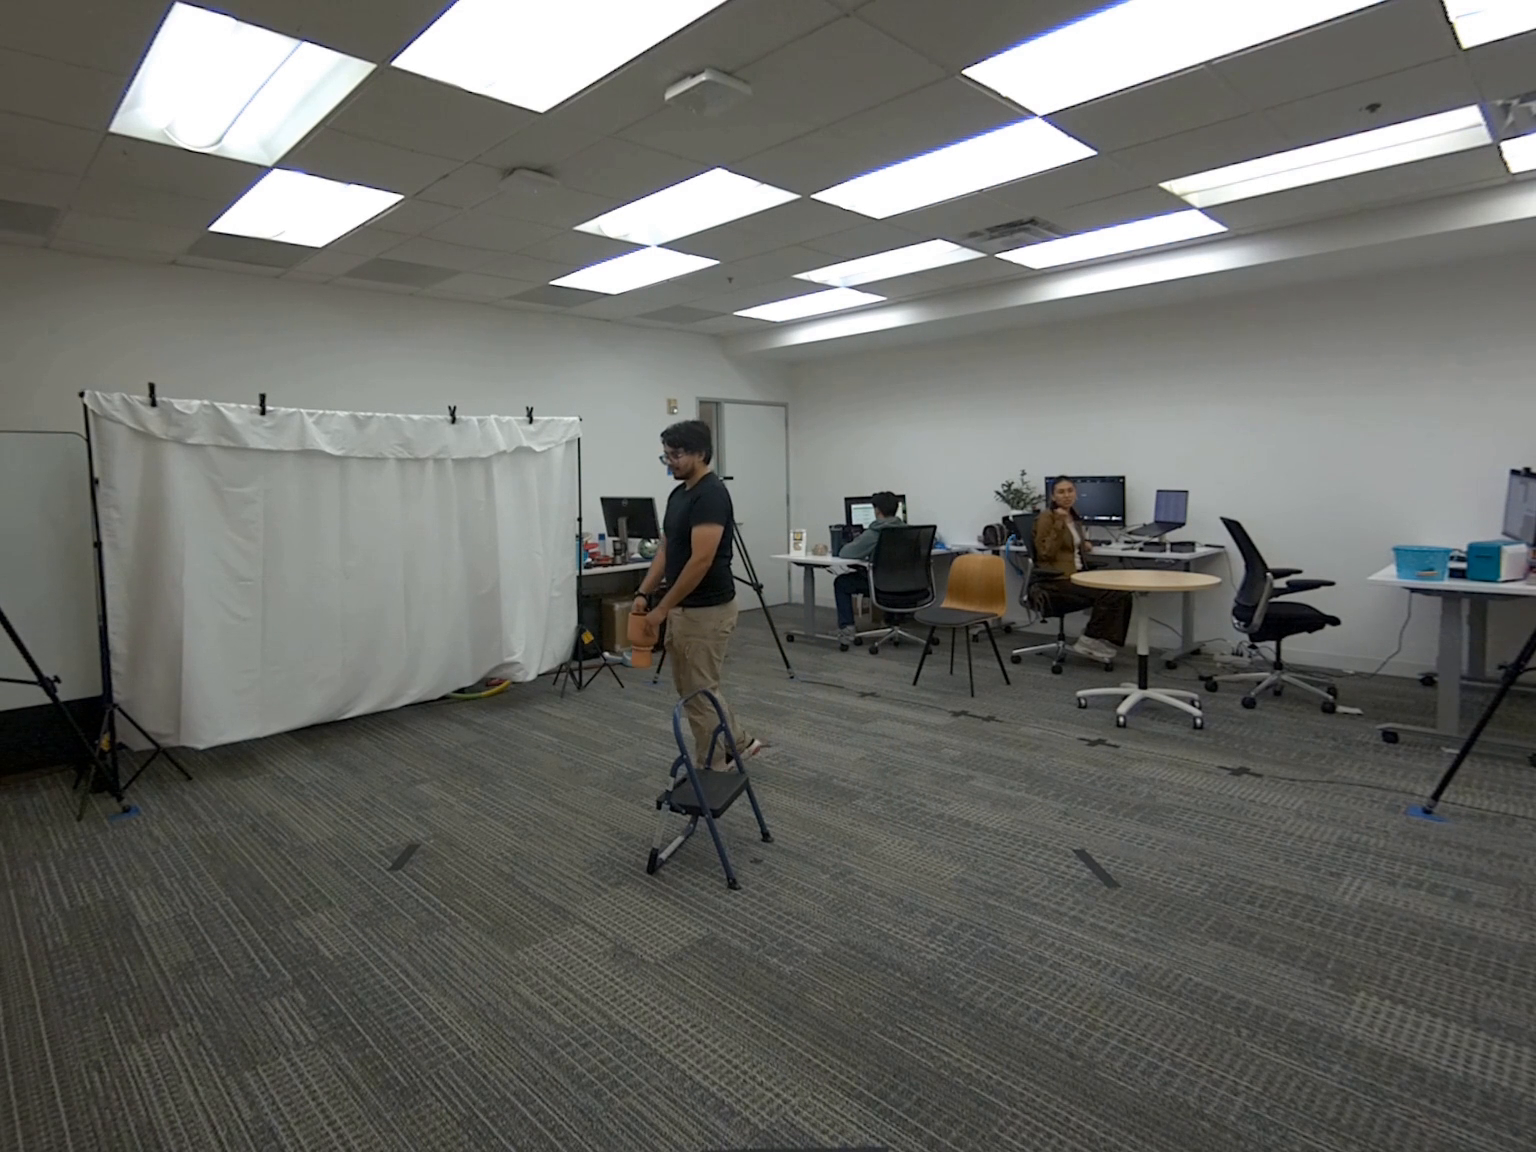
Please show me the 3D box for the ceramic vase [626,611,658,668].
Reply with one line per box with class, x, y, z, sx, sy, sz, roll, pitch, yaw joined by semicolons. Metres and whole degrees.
ceramic vase;-0.532;0.271;3.676;0.137;0.219;0.156;5;2;20
